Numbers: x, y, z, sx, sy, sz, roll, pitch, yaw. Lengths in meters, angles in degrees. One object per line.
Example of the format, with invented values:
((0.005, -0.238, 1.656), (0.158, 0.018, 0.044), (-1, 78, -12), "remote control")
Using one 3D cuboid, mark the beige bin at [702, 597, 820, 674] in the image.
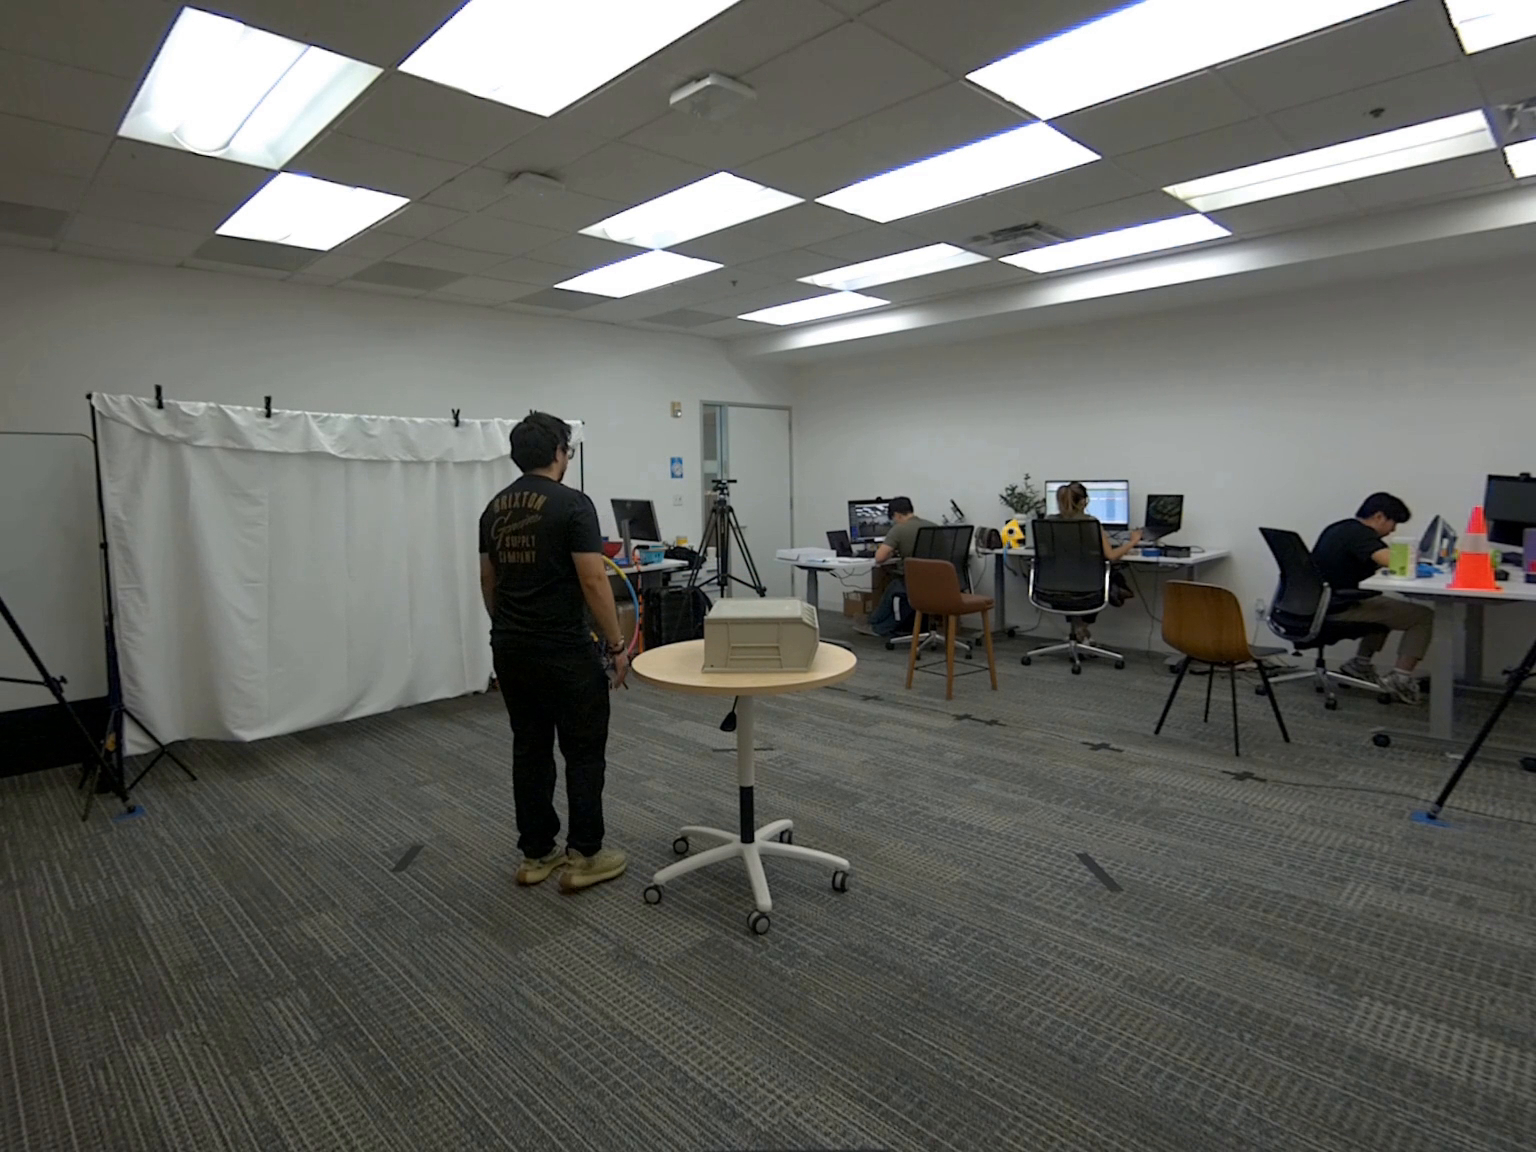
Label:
((-0.019, 0.188, 2.913), (0.379, 0.188, 0.422), (0, 6, 4), "beige bin")
